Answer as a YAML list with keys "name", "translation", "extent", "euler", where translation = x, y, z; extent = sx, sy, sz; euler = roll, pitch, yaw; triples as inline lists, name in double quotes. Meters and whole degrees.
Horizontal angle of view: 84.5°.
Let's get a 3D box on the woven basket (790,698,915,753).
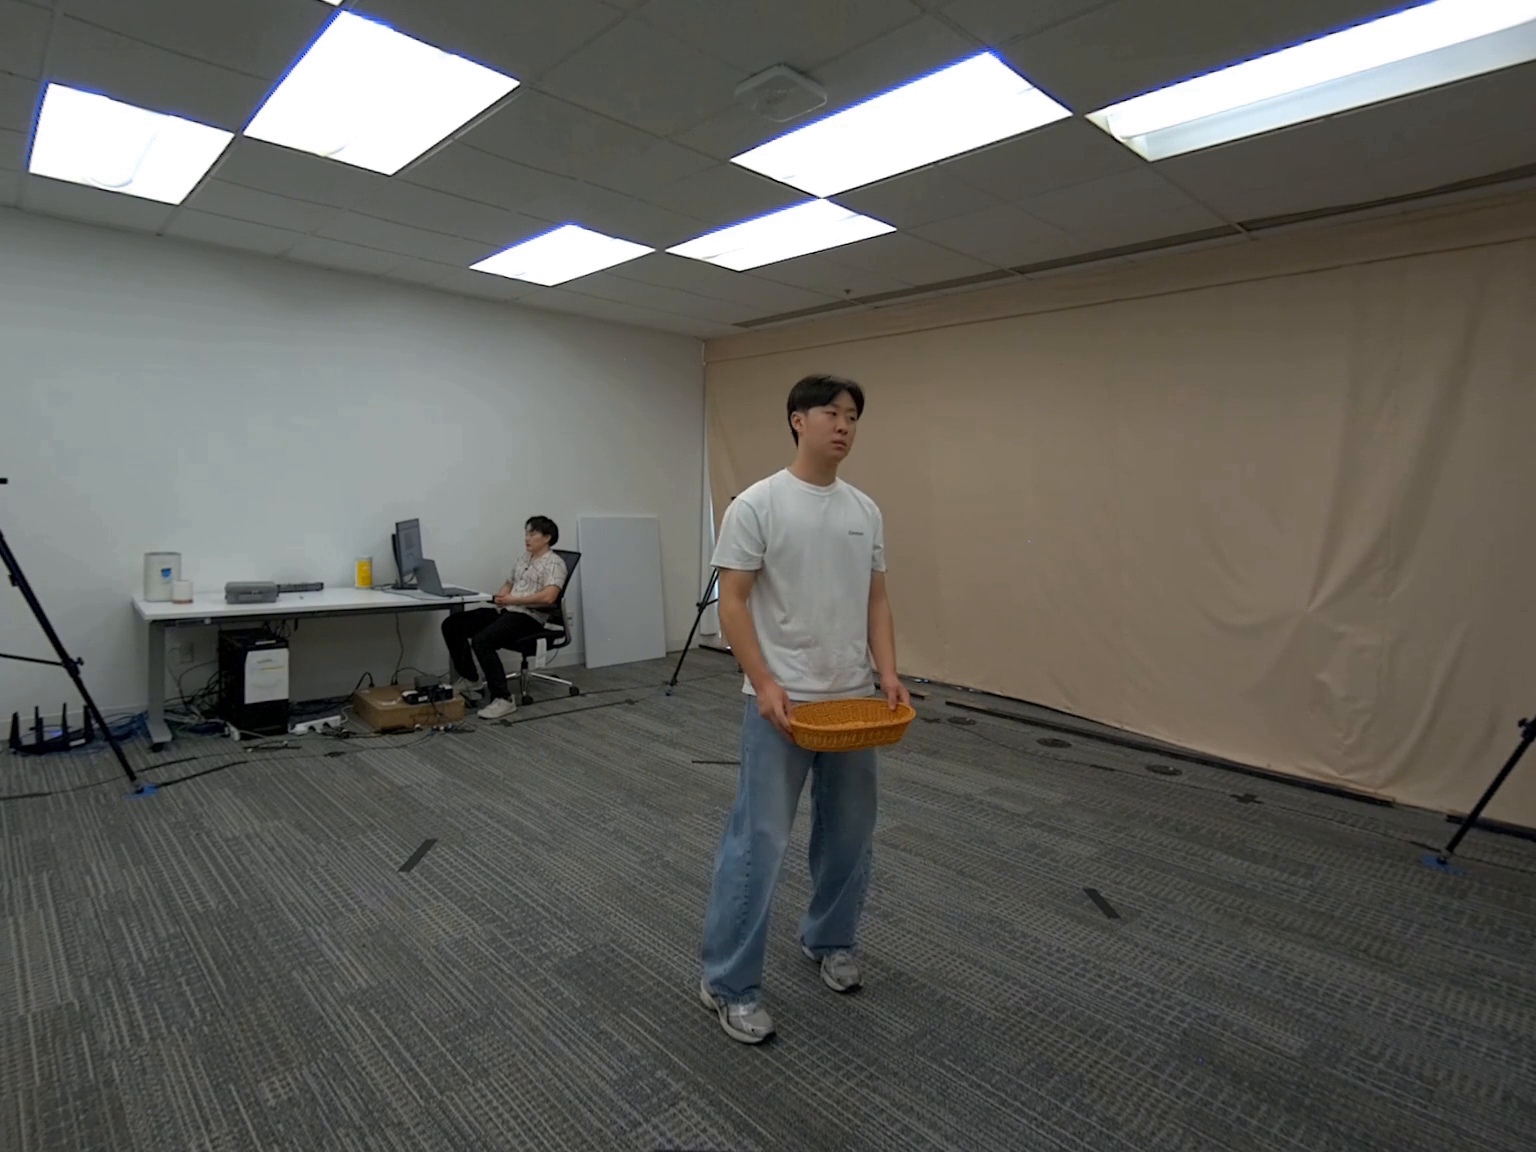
- name: "woven basket"
  translation: [0.183, 0.380, 2.143]
  extent: [0.347, 0.073, 0.256]
  euler: [-3, 7, -12]
